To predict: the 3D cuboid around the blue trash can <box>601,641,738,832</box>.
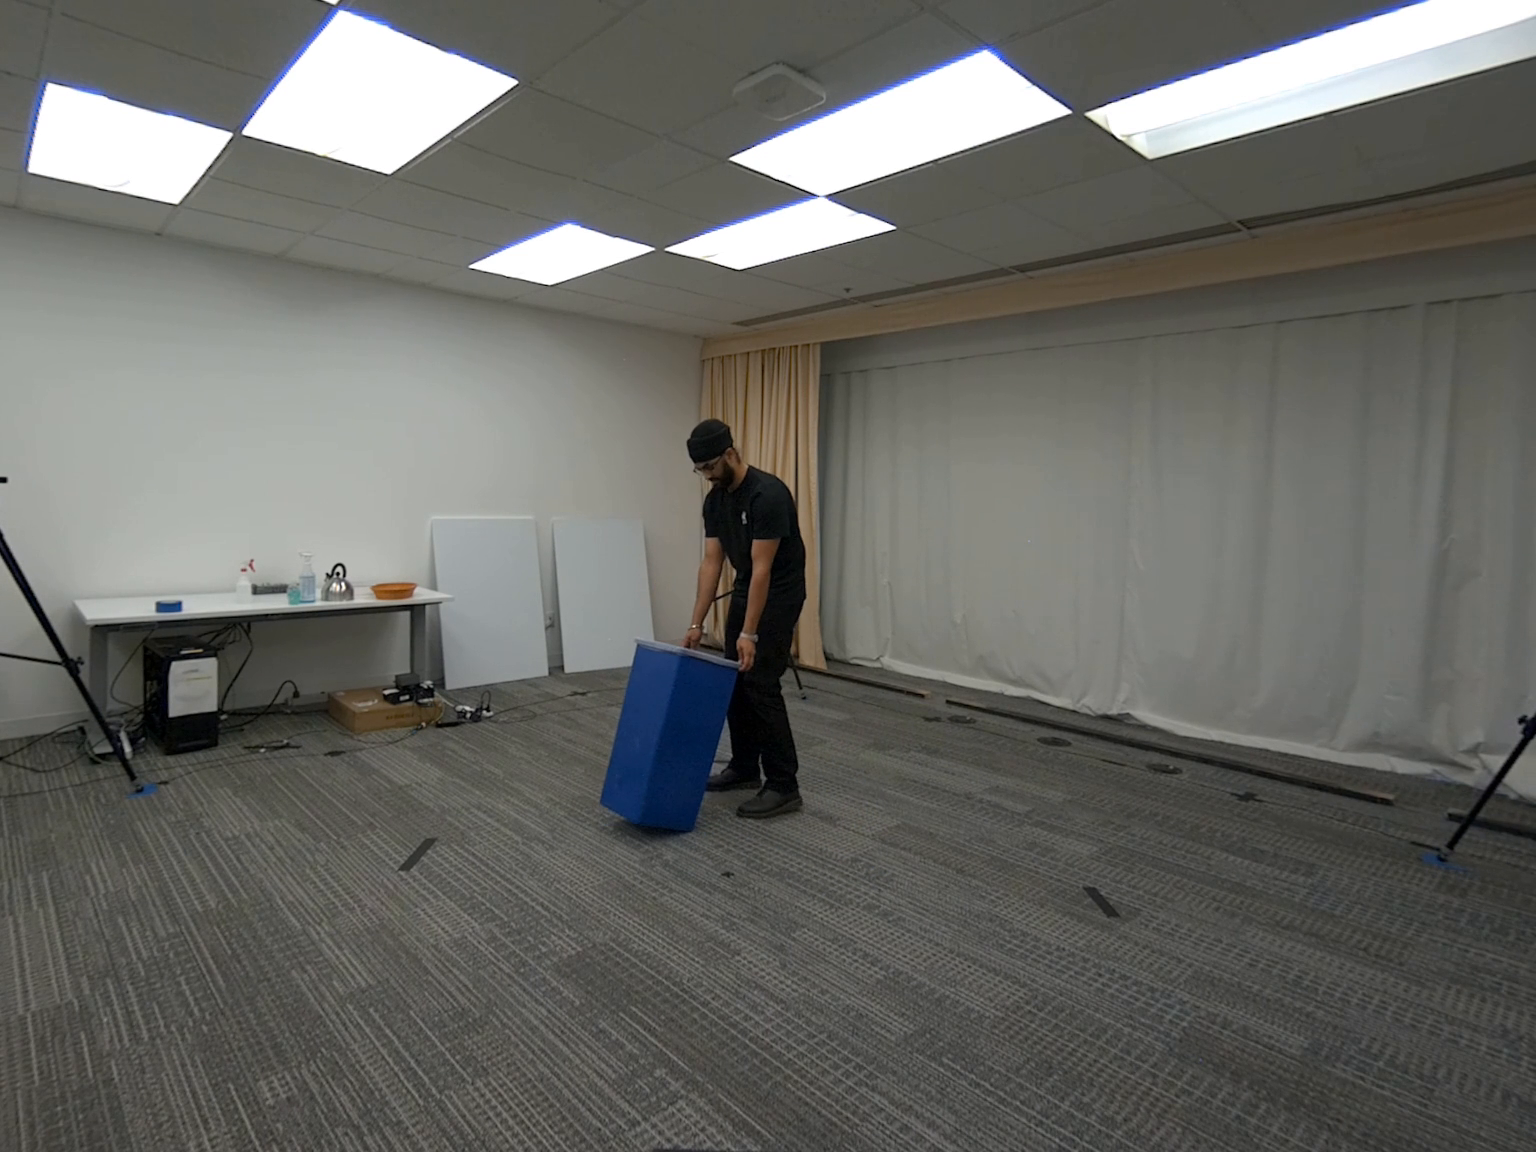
[{"bbox_3d":[-0.428,0.668,3.579,0.363,0.717,0.387,21,-11,-39],"label":"blue trash can"}]
